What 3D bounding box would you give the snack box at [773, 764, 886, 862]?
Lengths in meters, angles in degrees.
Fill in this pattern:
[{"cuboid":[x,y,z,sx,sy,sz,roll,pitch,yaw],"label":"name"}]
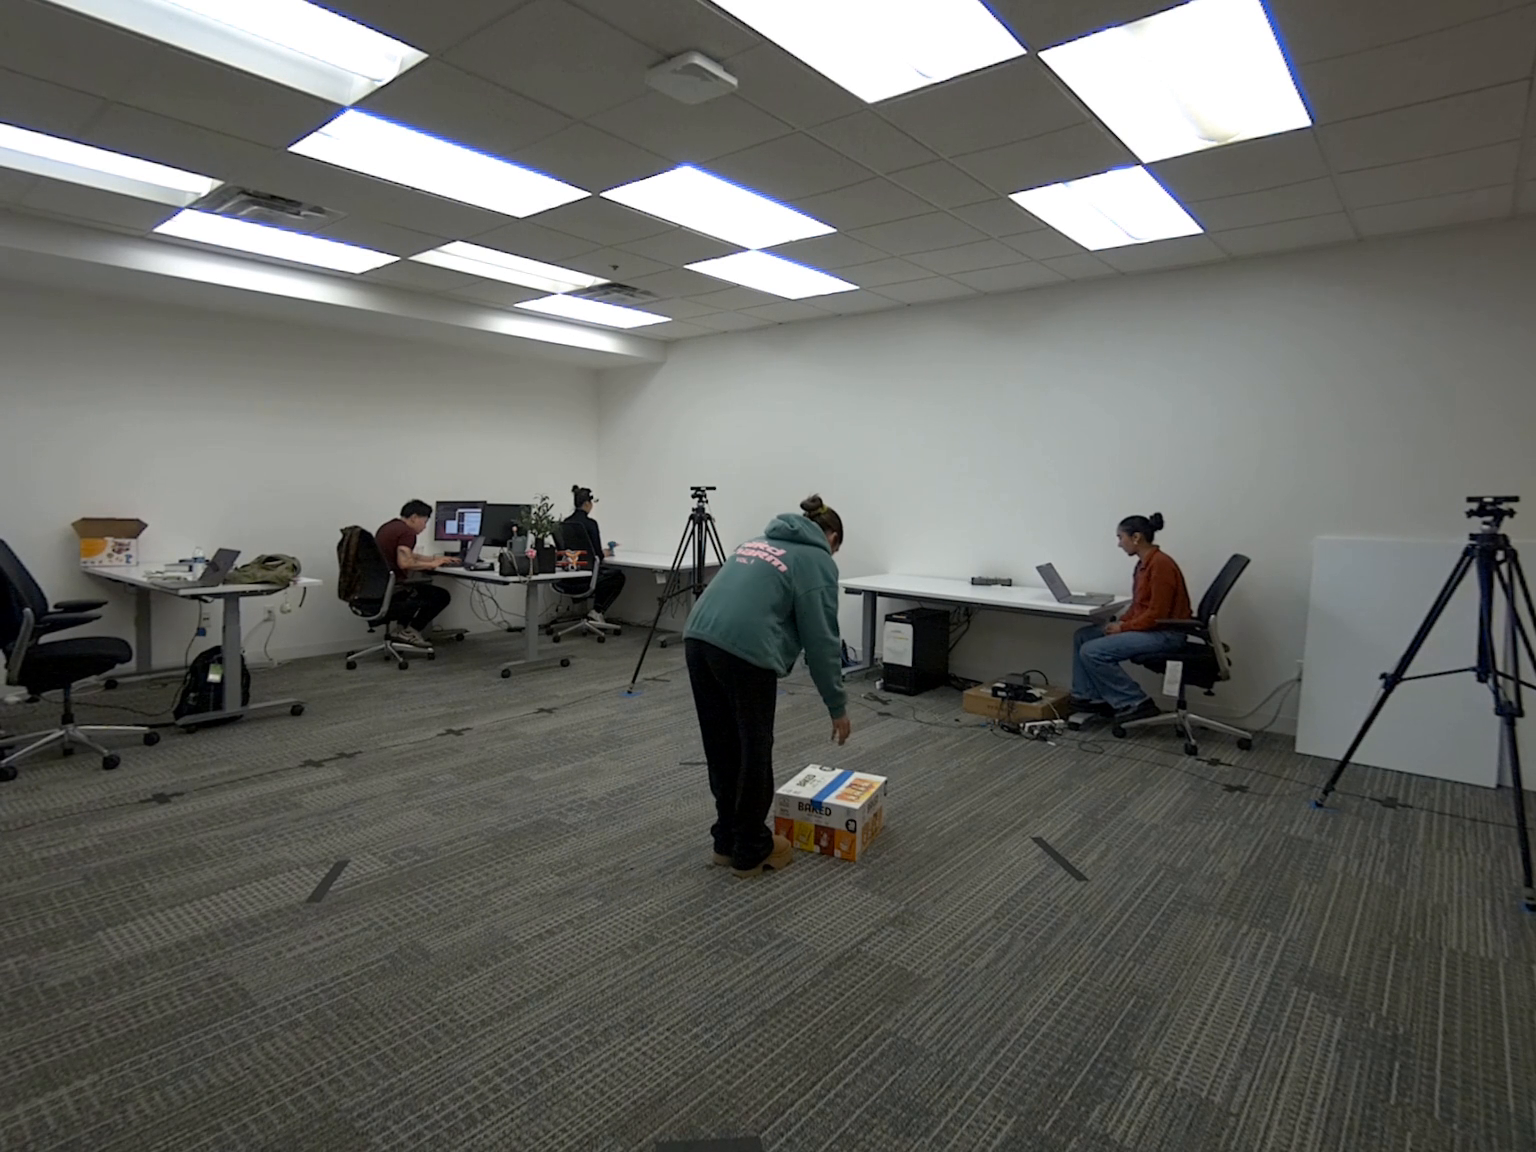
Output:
[{"cuboid":[0.252,0.940,3.436,0.349,0.205,0.396,4,6,25],"label":"snack box"}]
